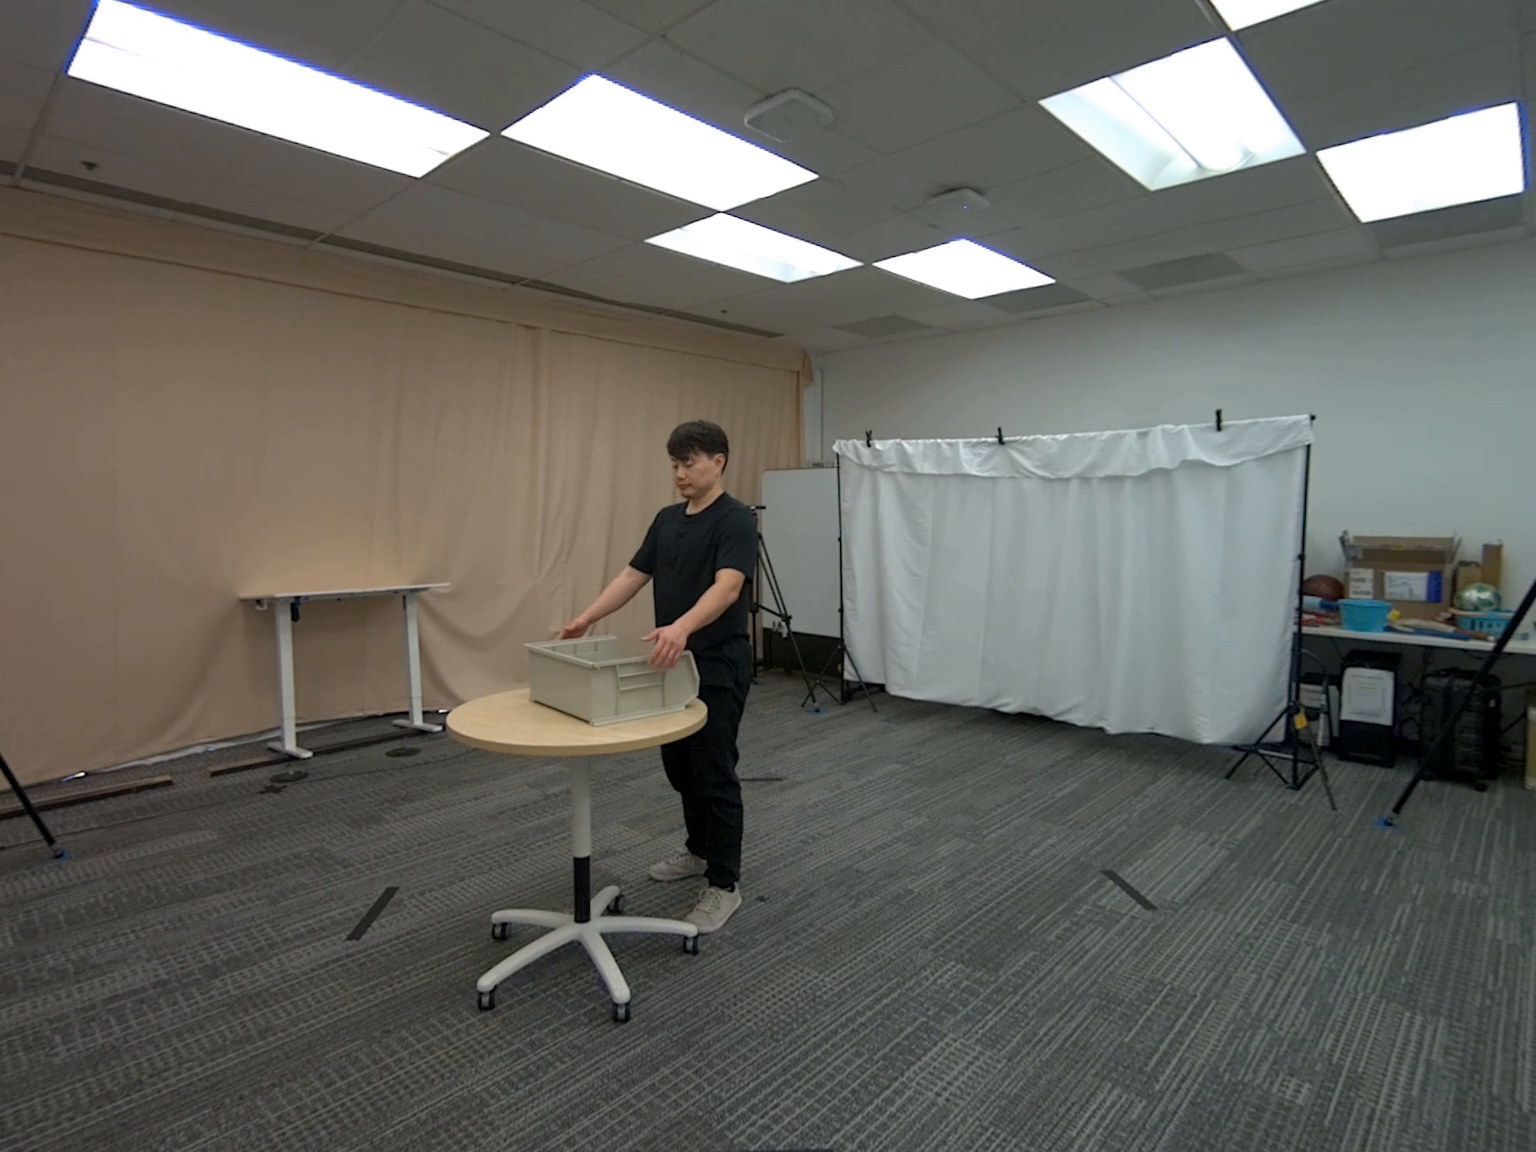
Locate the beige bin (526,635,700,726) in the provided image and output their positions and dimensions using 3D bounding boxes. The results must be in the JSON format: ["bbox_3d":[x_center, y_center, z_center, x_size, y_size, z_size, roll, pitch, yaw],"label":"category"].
[{"bbox_3d":[-0.487,0.311,2.589,0.366,0.188,0.436,-5,7,-40],"label":"beige bin"}]
